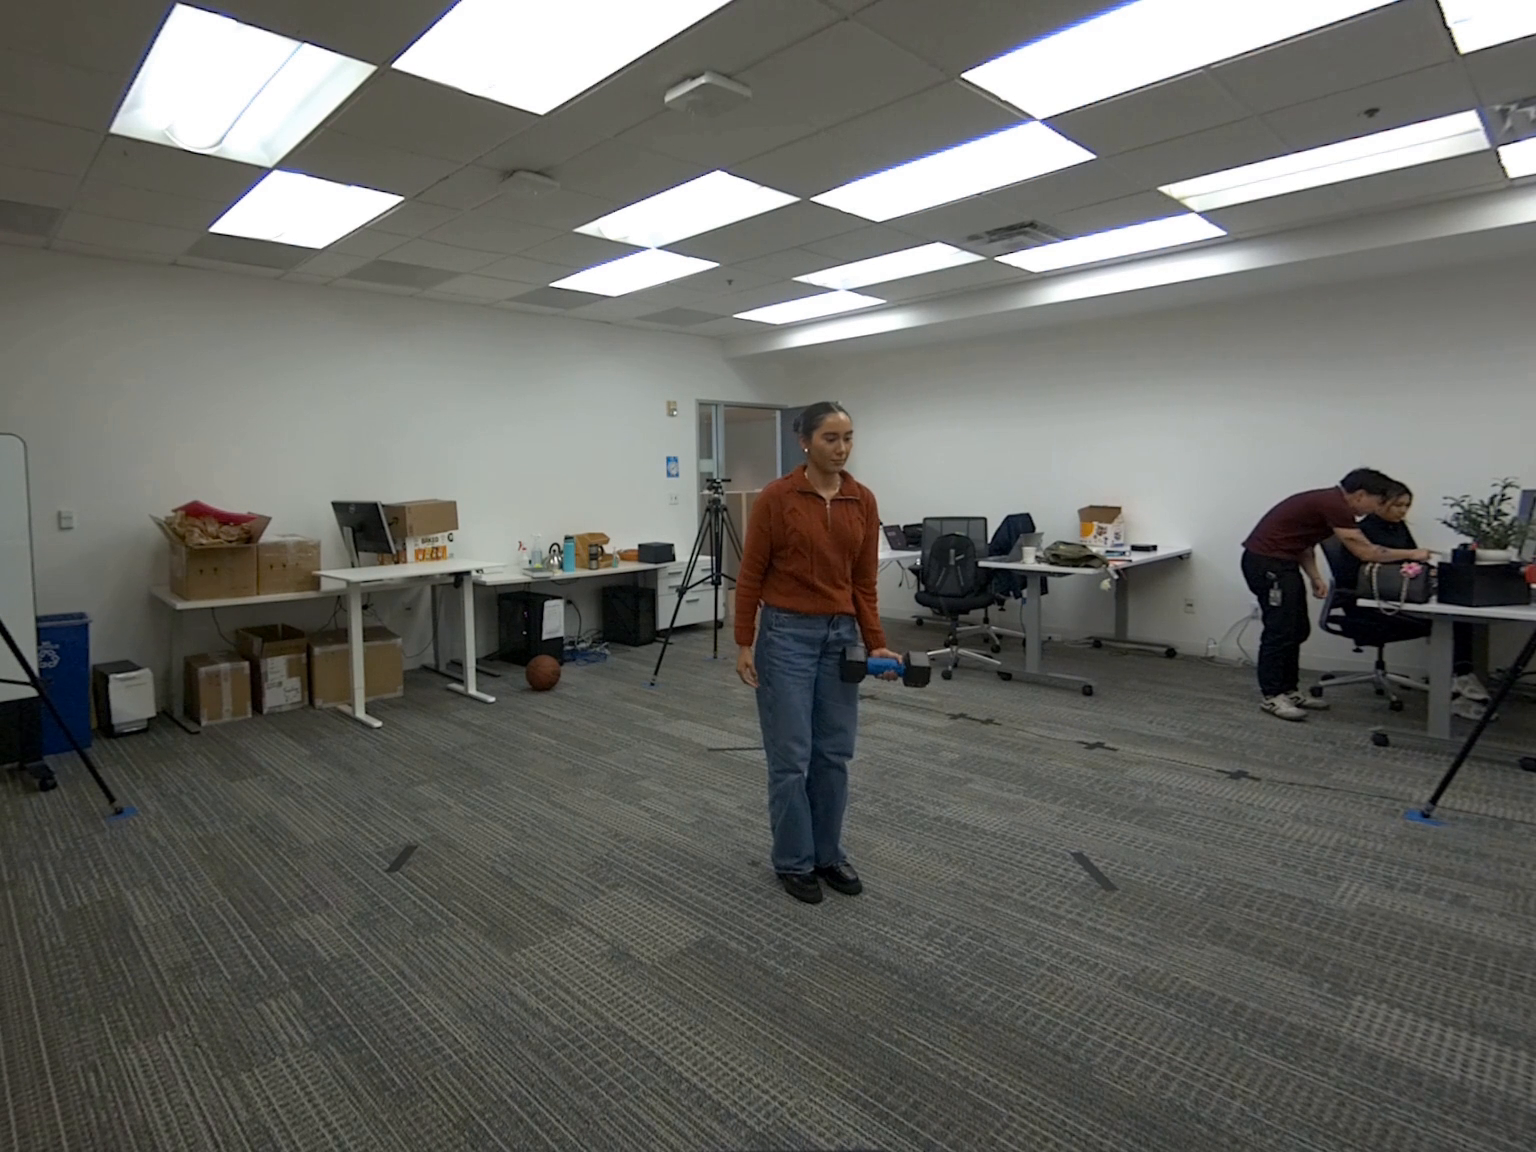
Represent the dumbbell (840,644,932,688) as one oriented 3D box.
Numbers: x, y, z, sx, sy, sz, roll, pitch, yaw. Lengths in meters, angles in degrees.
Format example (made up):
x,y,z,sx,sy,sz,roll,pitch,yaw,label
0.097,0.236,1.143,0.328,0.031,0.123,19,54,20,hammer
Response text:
x,y,z,sx,sy,sz,roll,pitch,yaw,label
0.384,0.298,2.845,0.294,0.106,0.126,3,39,1,dumbbell
